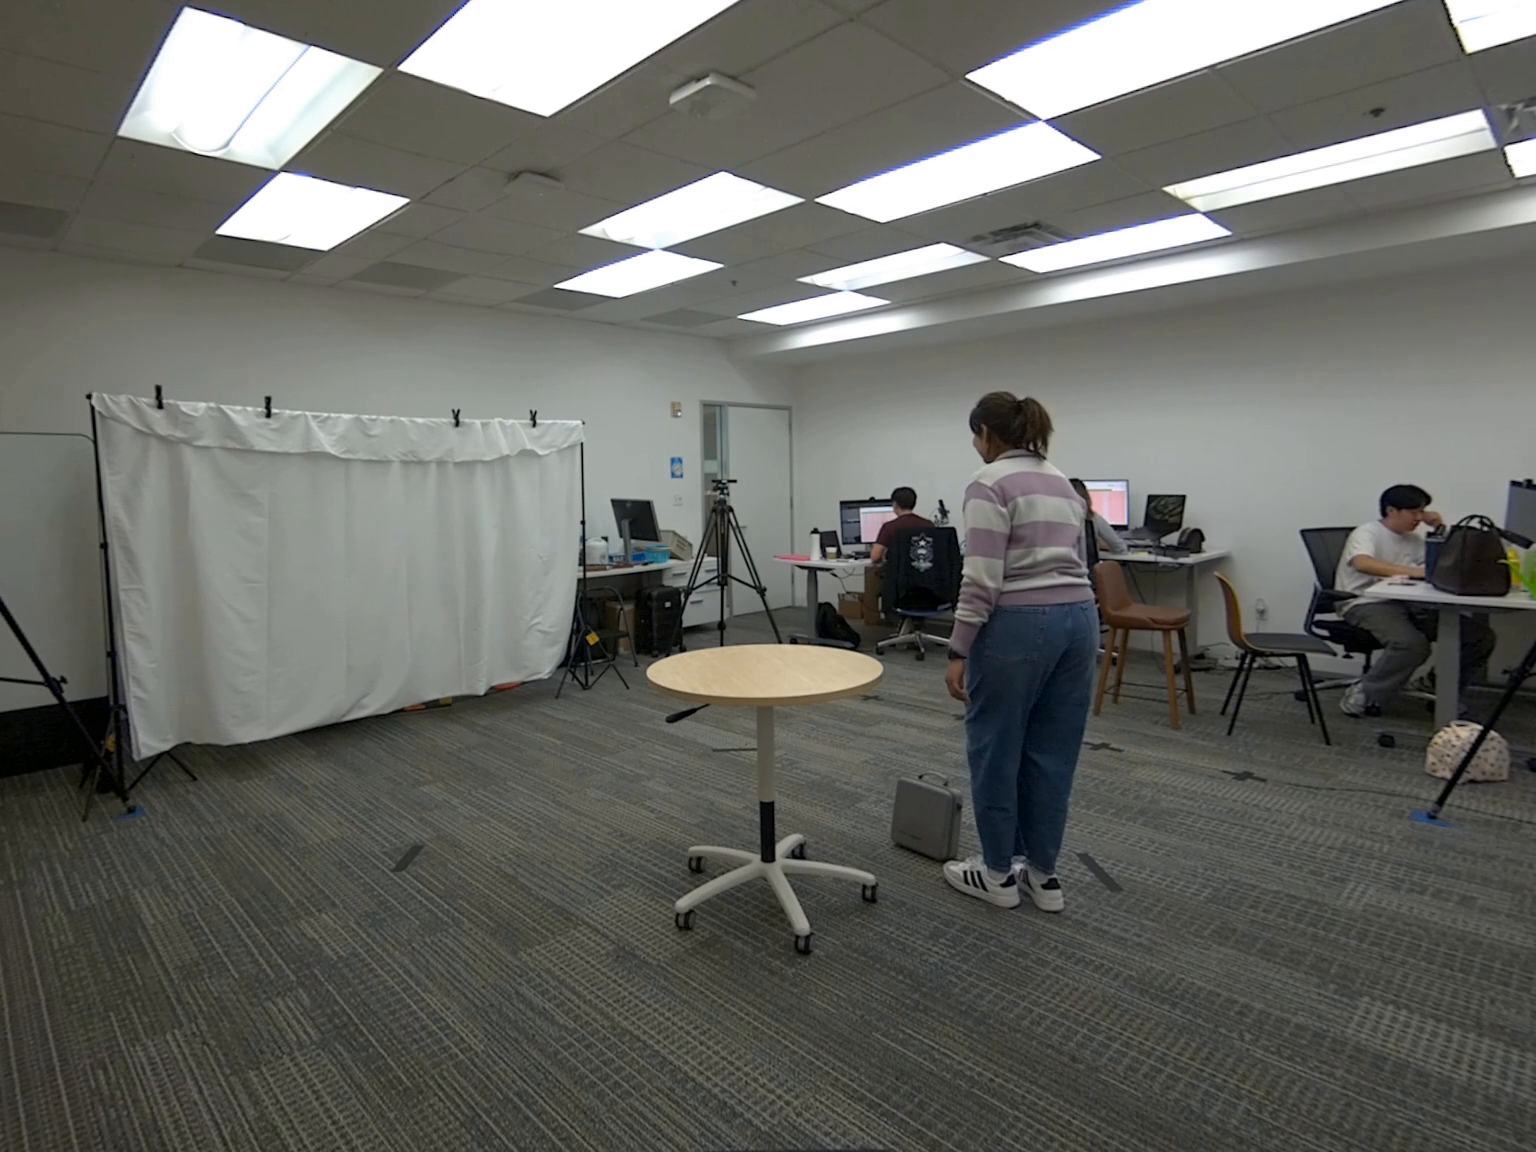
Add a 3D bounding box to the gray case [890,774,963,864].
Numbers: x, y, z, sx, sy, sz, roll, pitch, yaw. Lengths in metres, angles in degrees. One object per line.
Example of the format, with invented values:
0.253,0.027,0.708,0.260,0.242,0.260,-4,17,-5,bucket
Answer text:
0.597,0.894,3.191,0.101,0.261,0.265,9,-2,-40,gray case
